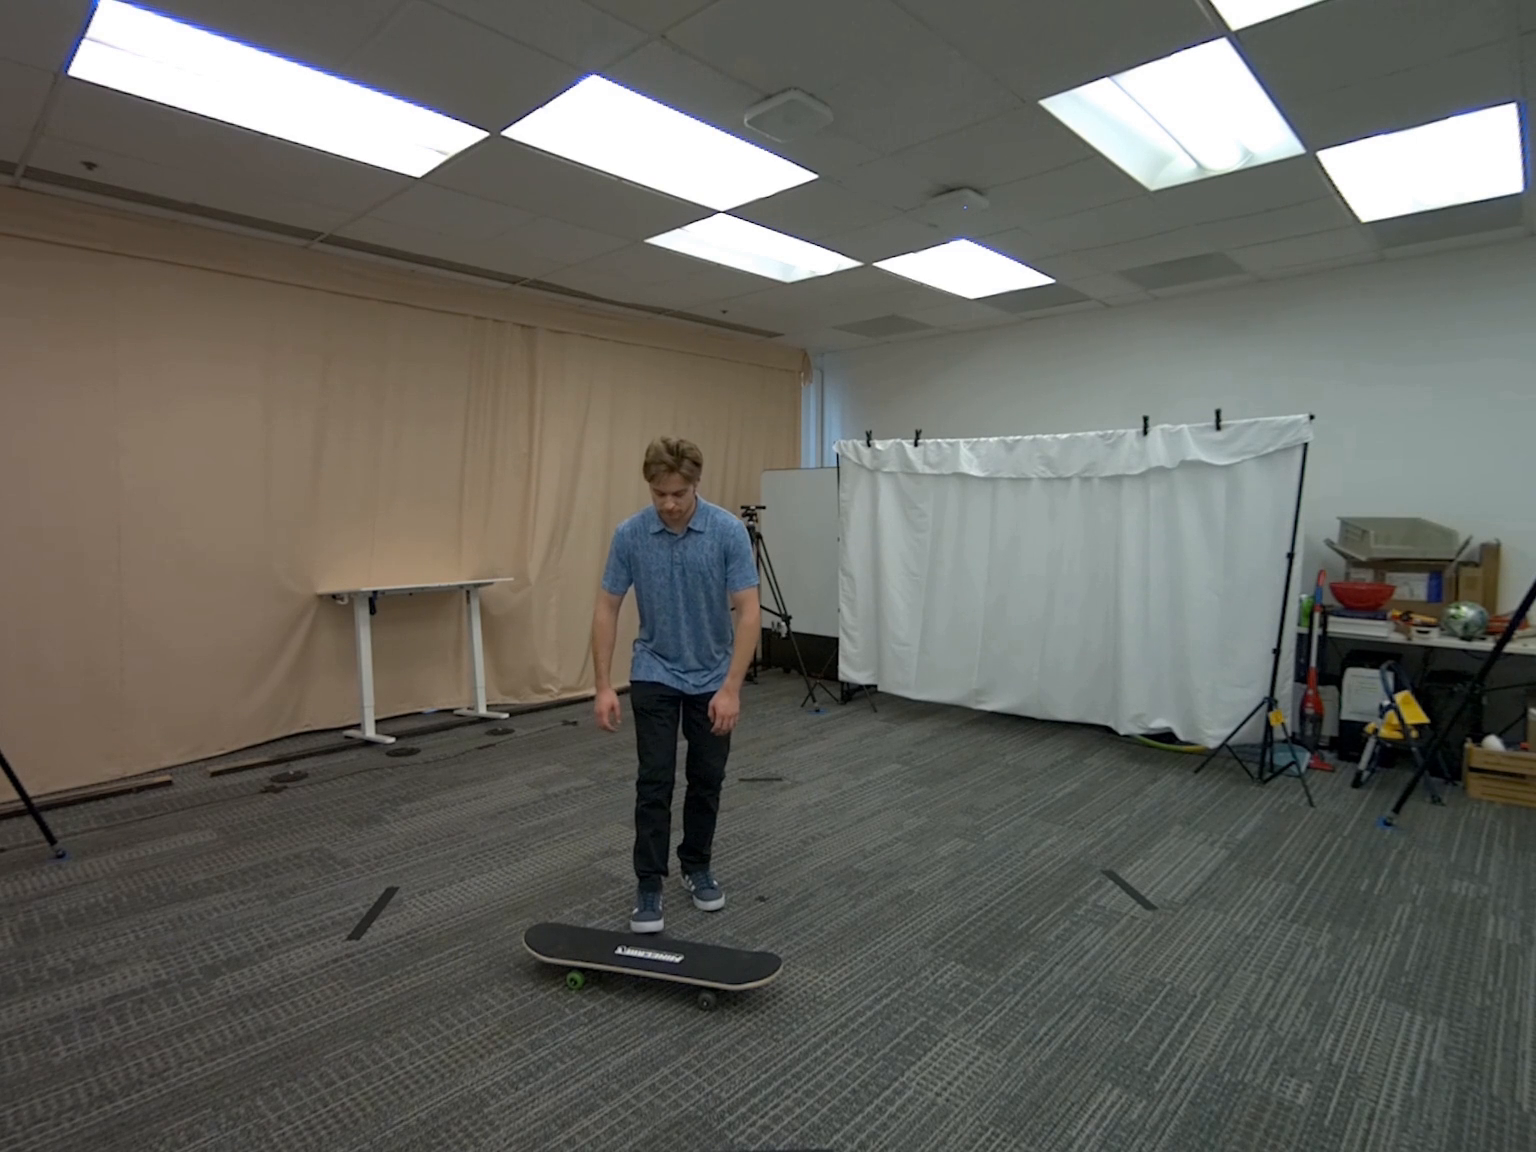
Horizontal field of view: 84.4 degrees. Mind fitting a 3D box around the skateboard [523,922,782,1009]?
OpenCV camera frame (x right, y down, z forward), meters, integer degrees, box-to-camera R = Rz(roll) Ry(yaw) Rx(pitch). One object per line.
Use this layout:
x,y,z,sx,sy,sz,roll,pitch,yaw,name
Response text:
-0.341,1.129,2.457,0.798,0.110,0.191,1,4,14,skateboard
